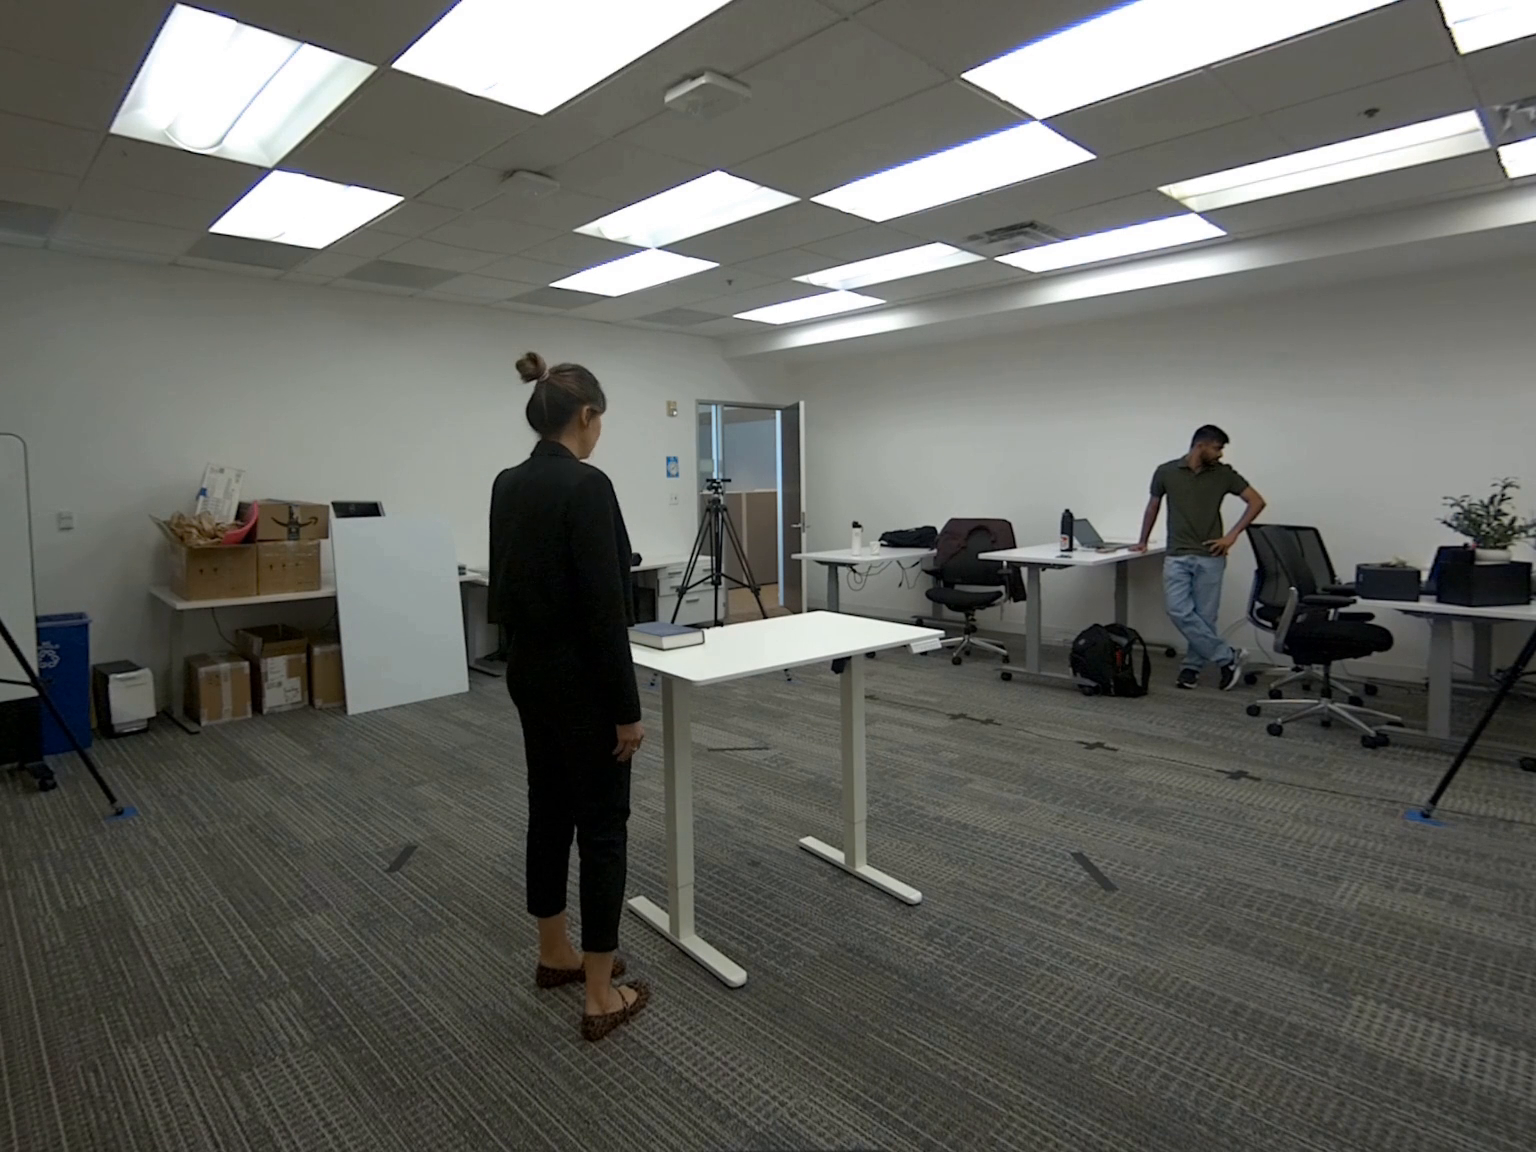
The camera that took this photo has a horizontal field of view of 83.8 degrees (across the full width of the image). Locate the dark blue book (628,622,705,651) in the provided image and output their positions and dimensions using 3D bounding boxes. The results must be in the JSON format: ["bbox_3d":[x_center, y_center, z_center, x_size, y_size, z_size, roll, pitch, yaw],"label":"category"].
[{"bbox_3d":[-0.340,0.189,2.740,0.159,0.045,0.253,-6,8,-40],"label":"dark blue book"}]
